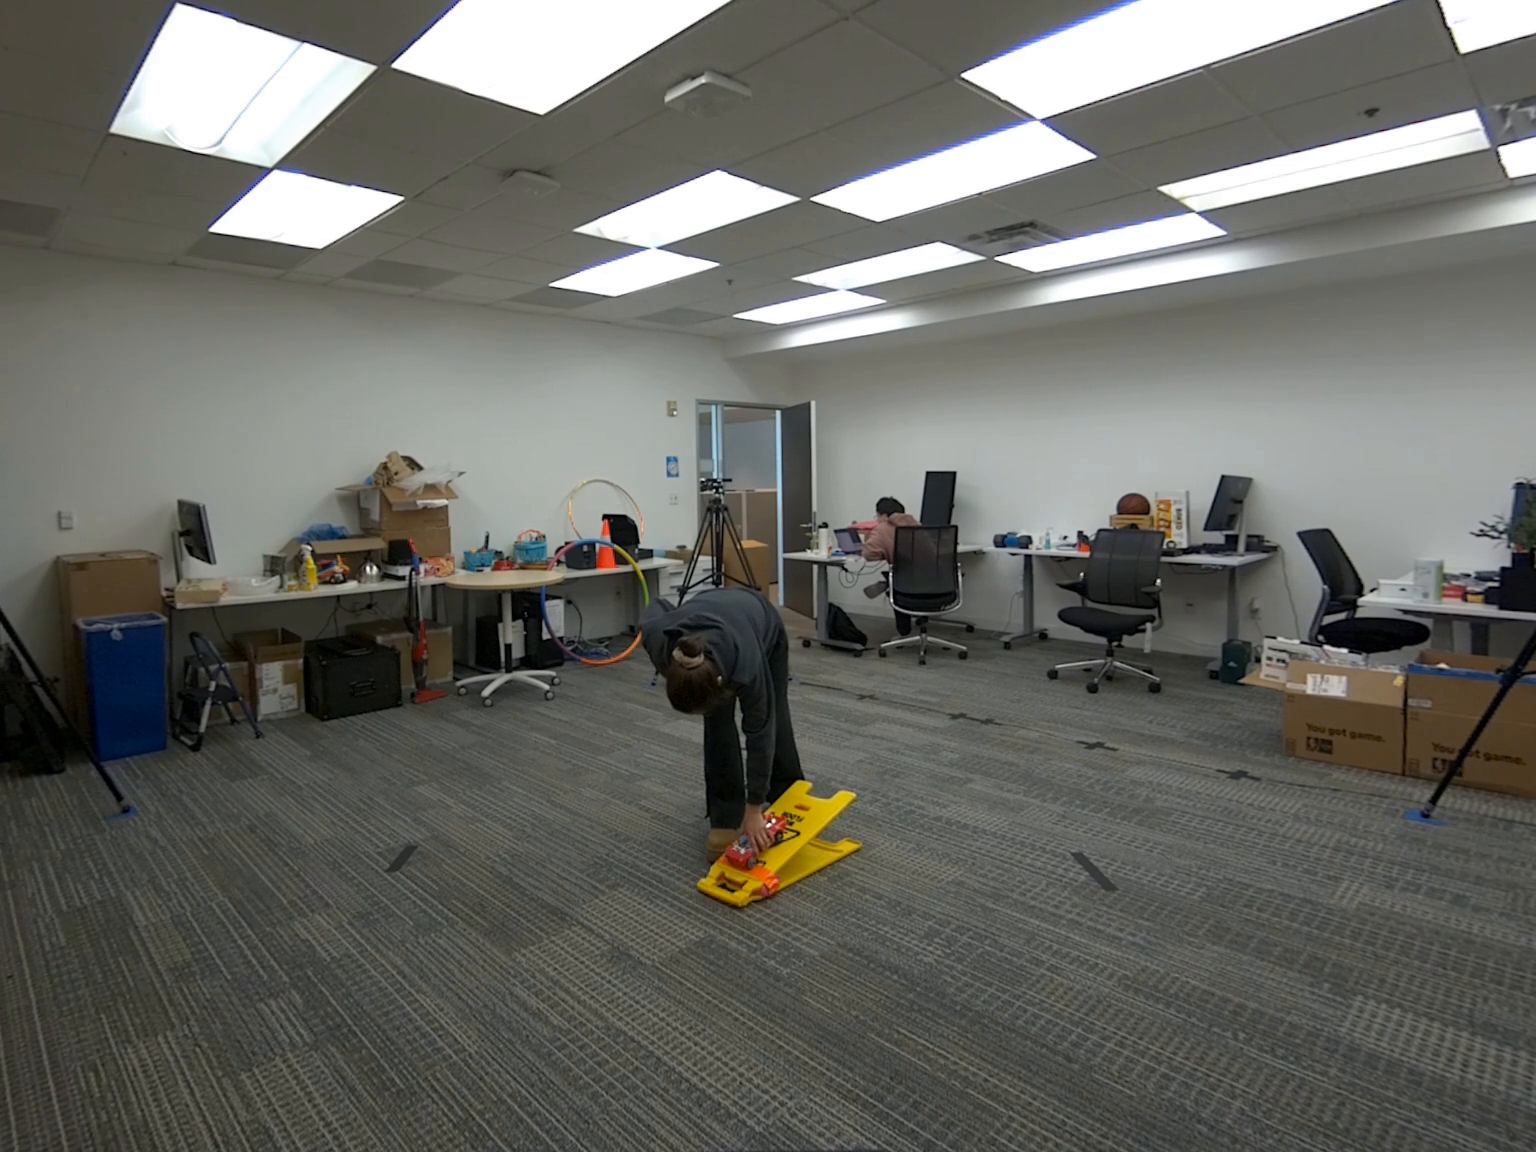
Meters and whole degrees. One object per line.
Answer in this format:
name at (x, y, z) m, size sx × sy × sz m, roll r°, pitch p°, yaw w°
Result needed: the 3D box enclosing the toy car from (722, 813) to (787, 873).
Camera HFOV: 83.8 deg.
toy car at (-0.033, 0.934, 2.981) m, size 0.134 × 0.081 × 0.253 m, roll 4°, pitch 35°, yaw 45°
